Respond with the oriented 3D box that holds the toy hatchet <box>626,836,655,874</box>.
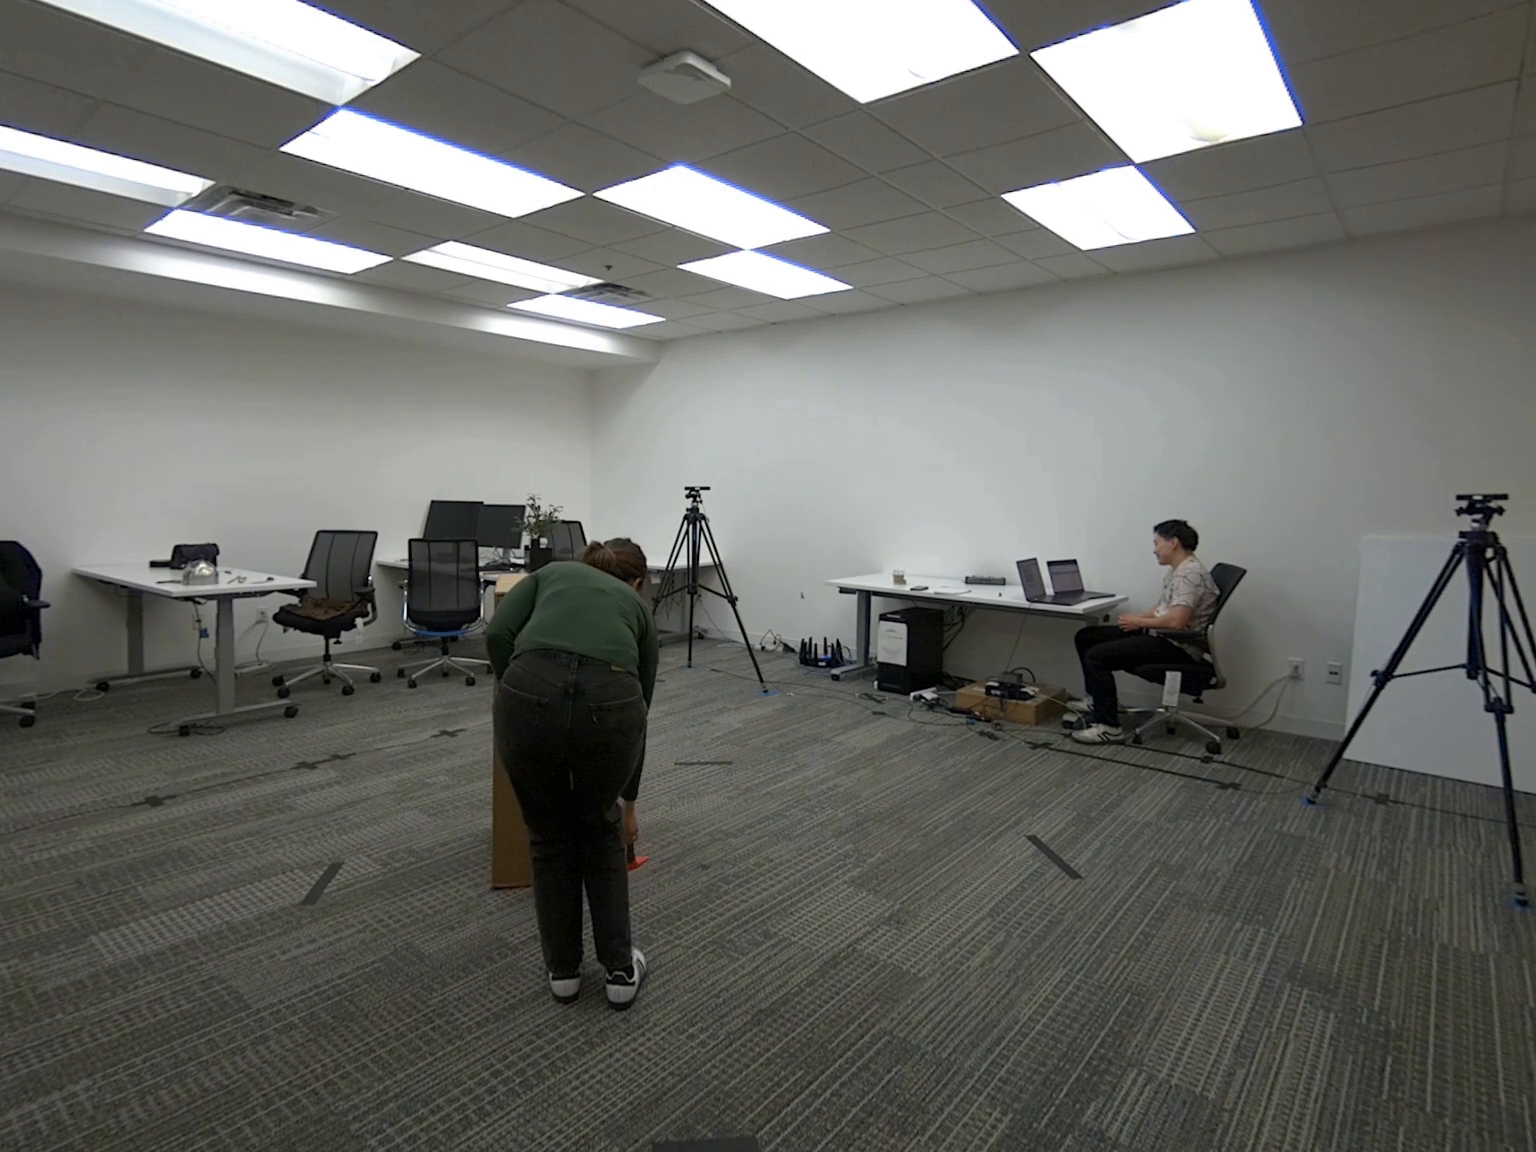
[{"bbox_3d":[-0.488,0.873,2.718,0.131,0.260,0.031,-25,38,3],"label":"toy hatchet"}]
